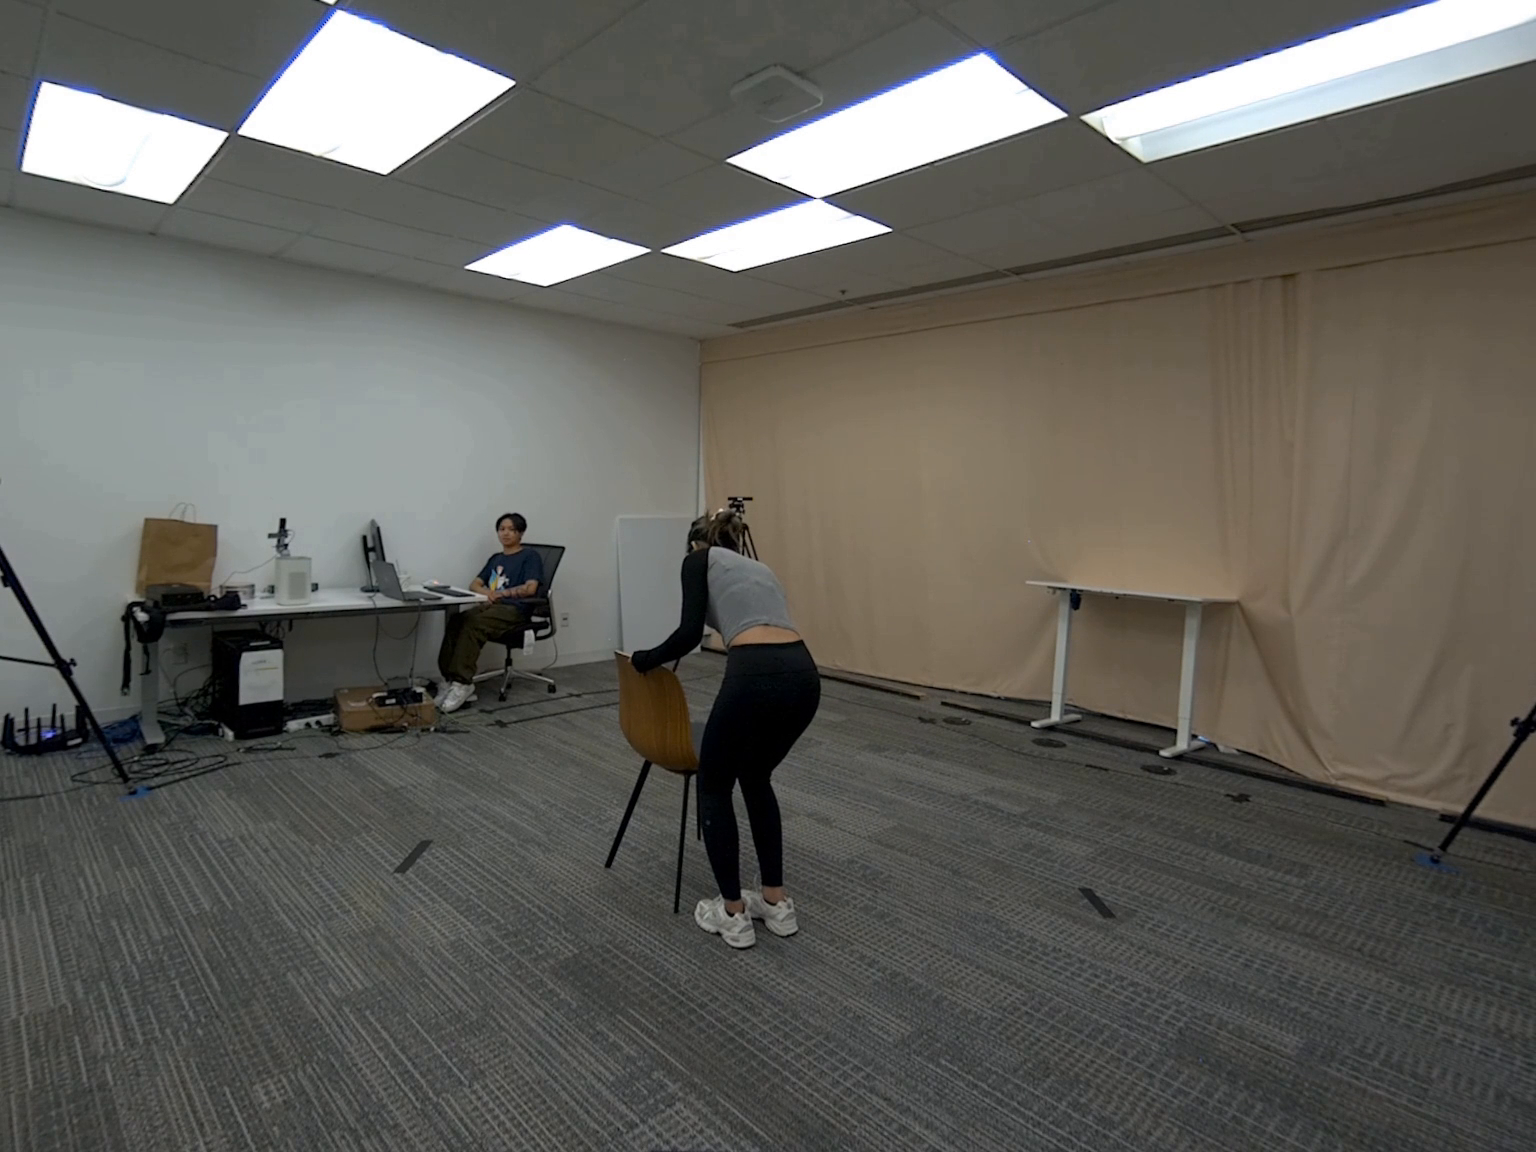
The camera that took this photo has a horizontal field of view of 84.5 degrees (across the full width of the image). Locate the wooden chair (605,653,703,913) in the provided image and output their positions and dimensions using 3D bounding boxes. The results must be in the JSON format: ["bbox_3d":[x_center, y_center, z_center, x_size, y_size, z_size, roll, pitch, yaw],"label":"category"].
[{"bbox_3d":[-0.283,0.675,3.104,0.512,0.873,0.490,-7,8,-41],"label":"wooden chair"}]
